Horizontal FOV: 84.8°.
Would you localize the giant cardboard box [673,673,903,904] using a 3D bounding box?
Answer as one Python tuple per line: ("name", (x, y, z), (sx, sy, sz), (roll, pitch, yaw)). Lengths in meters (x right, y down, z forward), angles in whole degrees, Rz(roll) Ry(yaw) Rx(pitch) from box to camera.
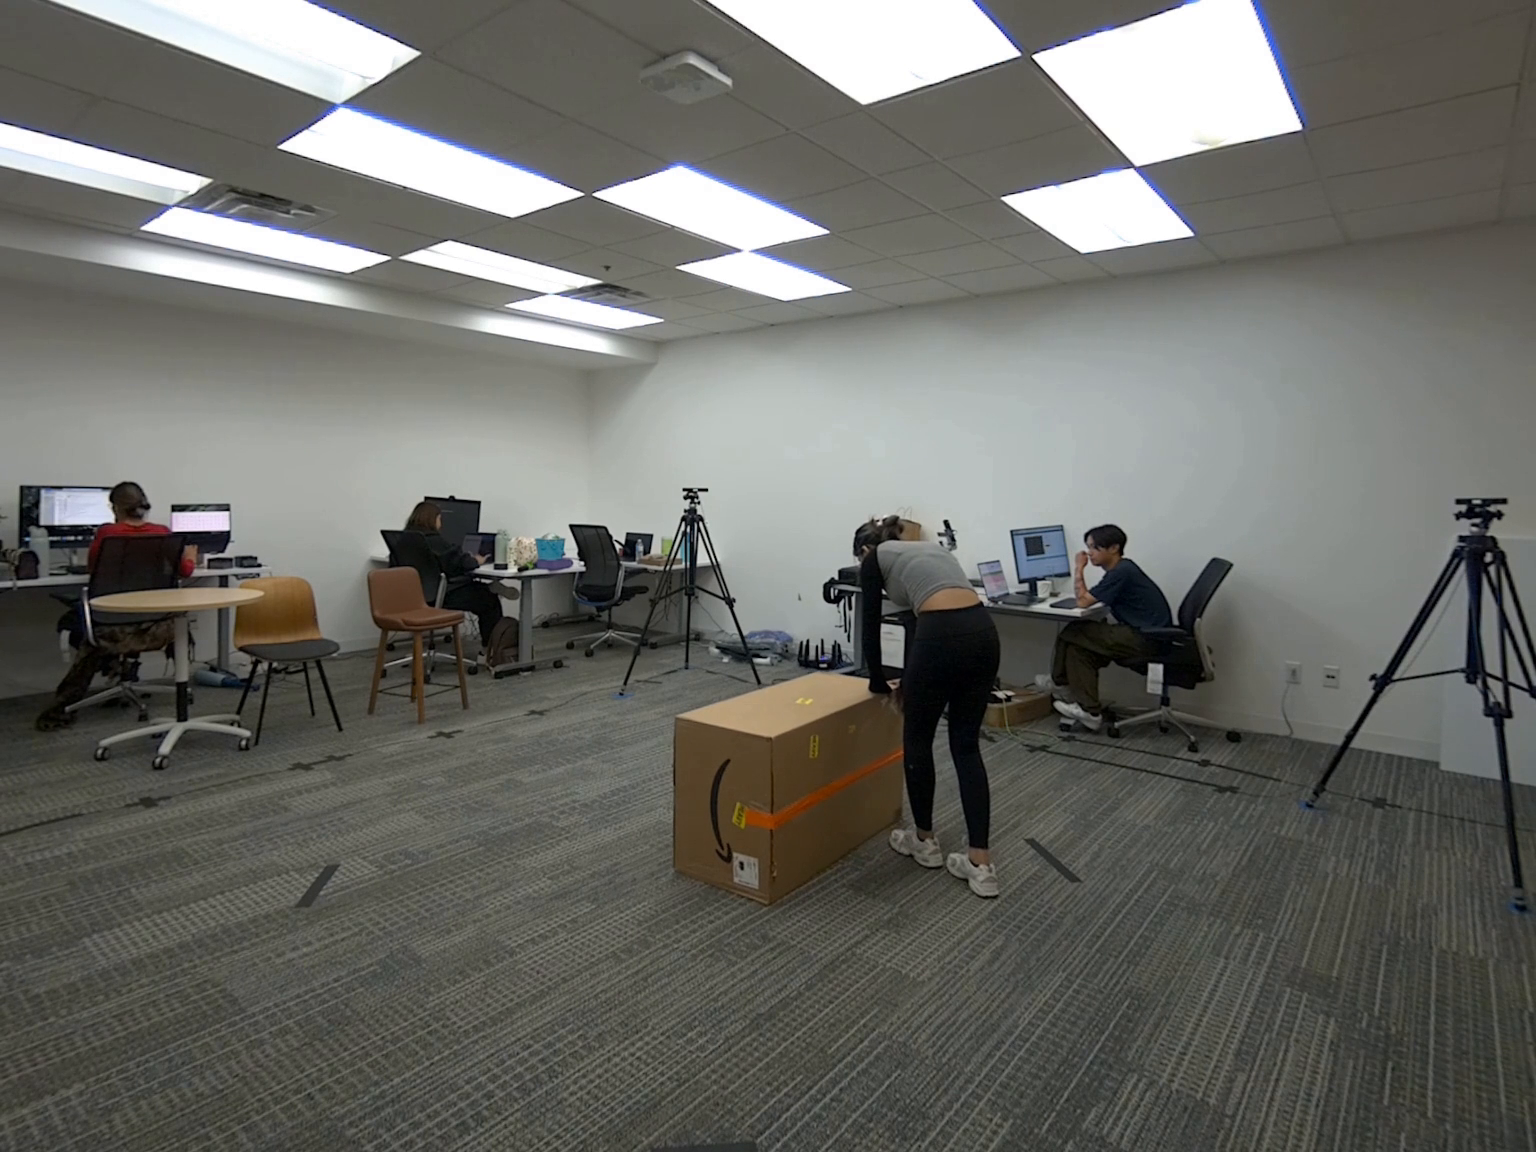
("giant cardboard box", (0.108, 0.765, 3.349), (0.461, 0.581, 0.999), (5, 6, 34))
